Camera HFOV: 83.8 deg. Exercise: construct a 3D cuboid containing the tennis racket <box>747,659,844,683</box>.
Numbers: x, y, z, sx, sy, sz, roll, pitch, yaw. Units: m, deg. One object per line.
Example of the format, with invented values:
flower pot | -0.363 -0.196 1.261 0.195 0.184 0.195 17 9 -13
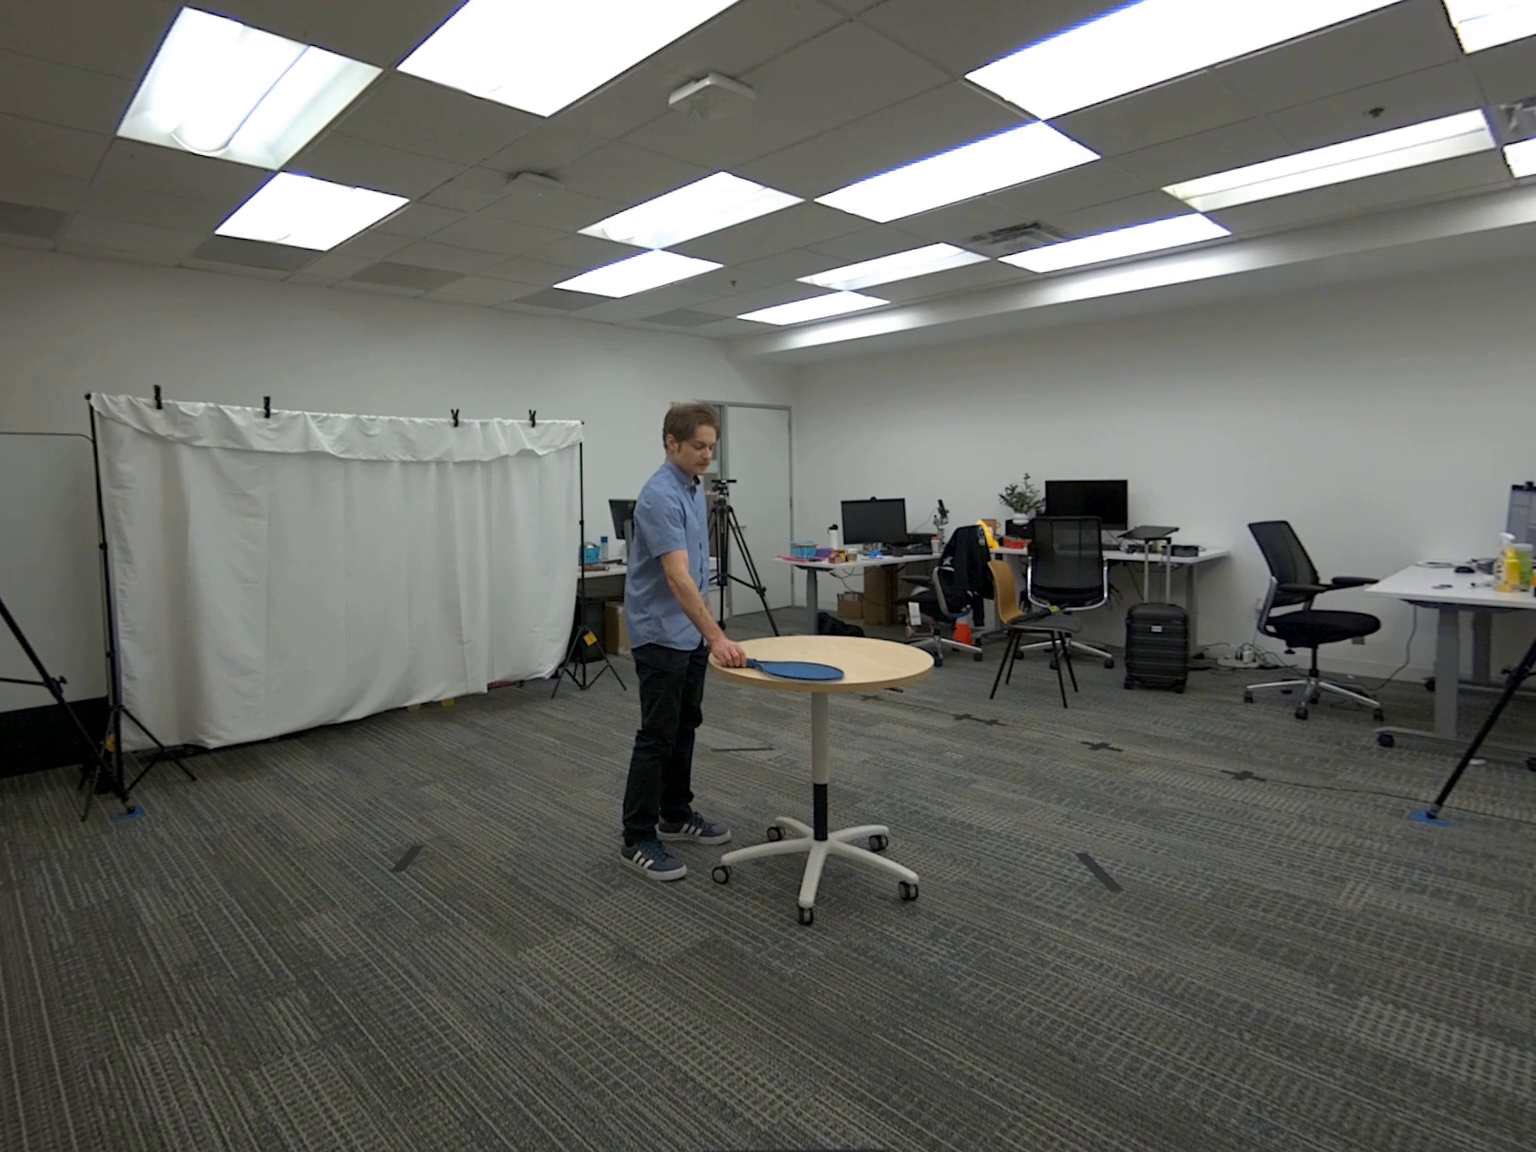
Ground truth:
tennis racket | 0.043 0.297 2.704 0.445 0.031 0.208 5 5 34
